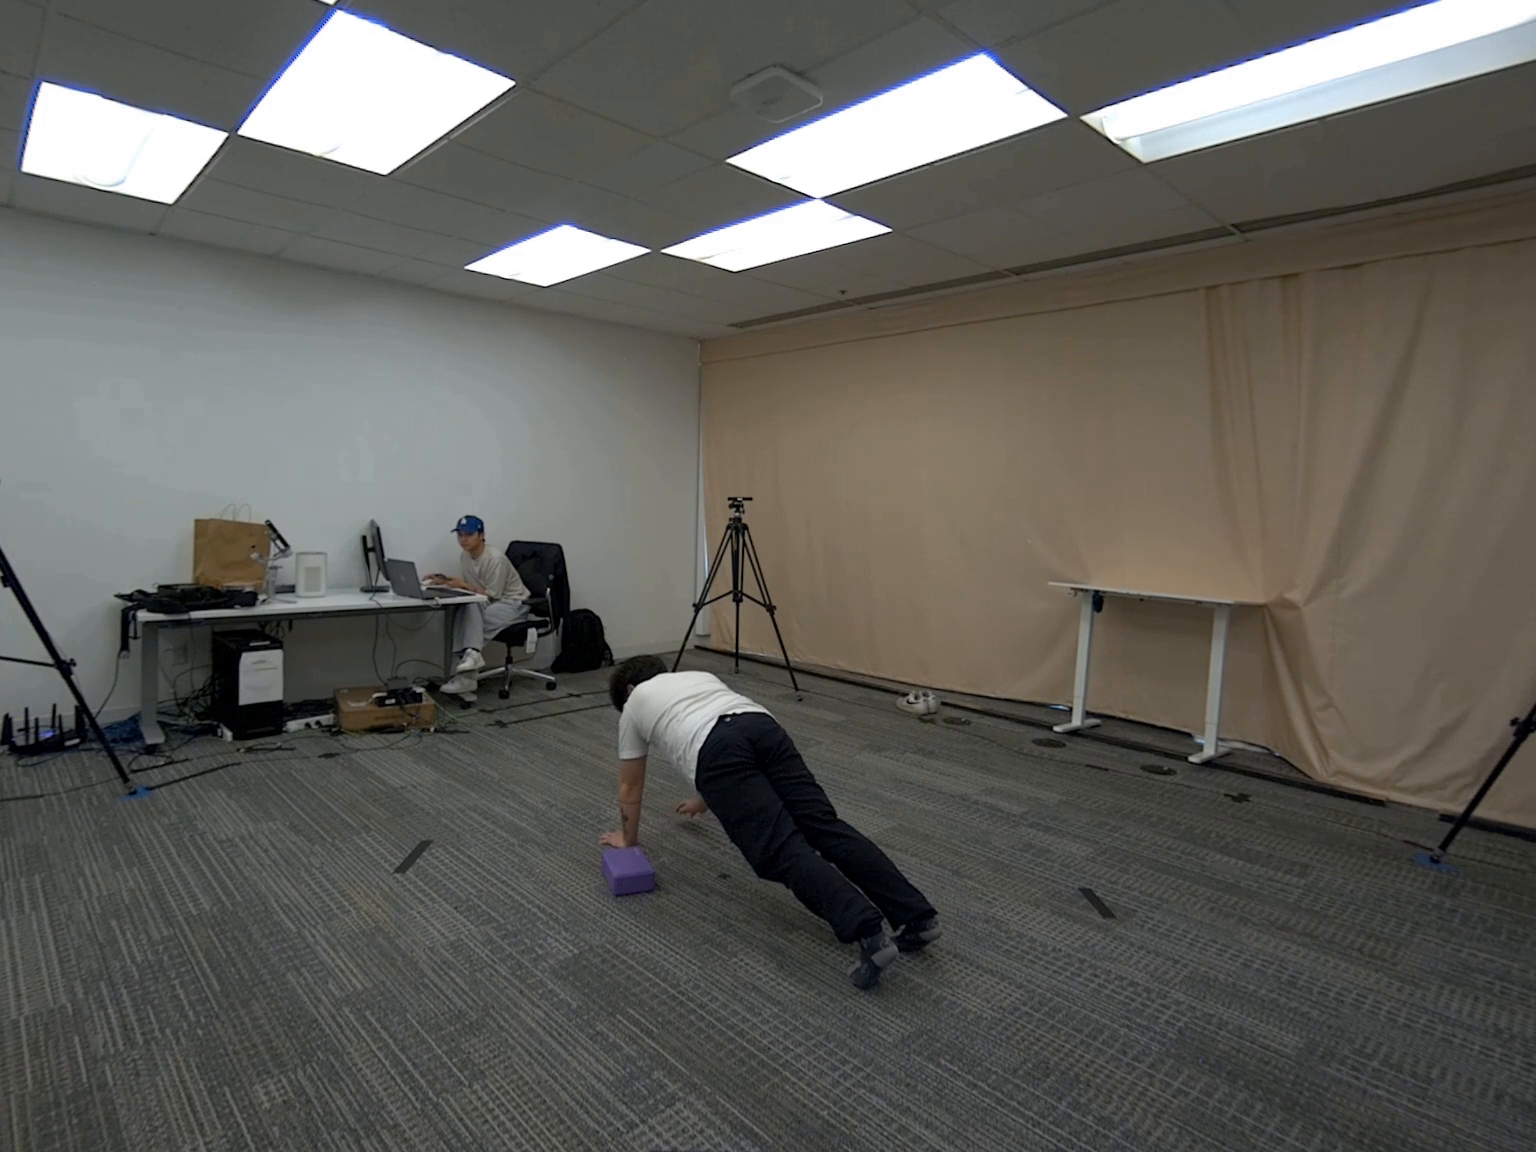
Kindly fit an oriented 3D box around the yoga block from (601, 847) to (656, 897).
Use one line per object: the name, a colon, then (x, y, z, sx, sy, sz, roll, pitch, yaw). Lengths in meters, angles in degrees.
yoga block: (-0.515, 1.065, 3.046, 0.146, 0.076, 0.234, 1, 4, -22)
